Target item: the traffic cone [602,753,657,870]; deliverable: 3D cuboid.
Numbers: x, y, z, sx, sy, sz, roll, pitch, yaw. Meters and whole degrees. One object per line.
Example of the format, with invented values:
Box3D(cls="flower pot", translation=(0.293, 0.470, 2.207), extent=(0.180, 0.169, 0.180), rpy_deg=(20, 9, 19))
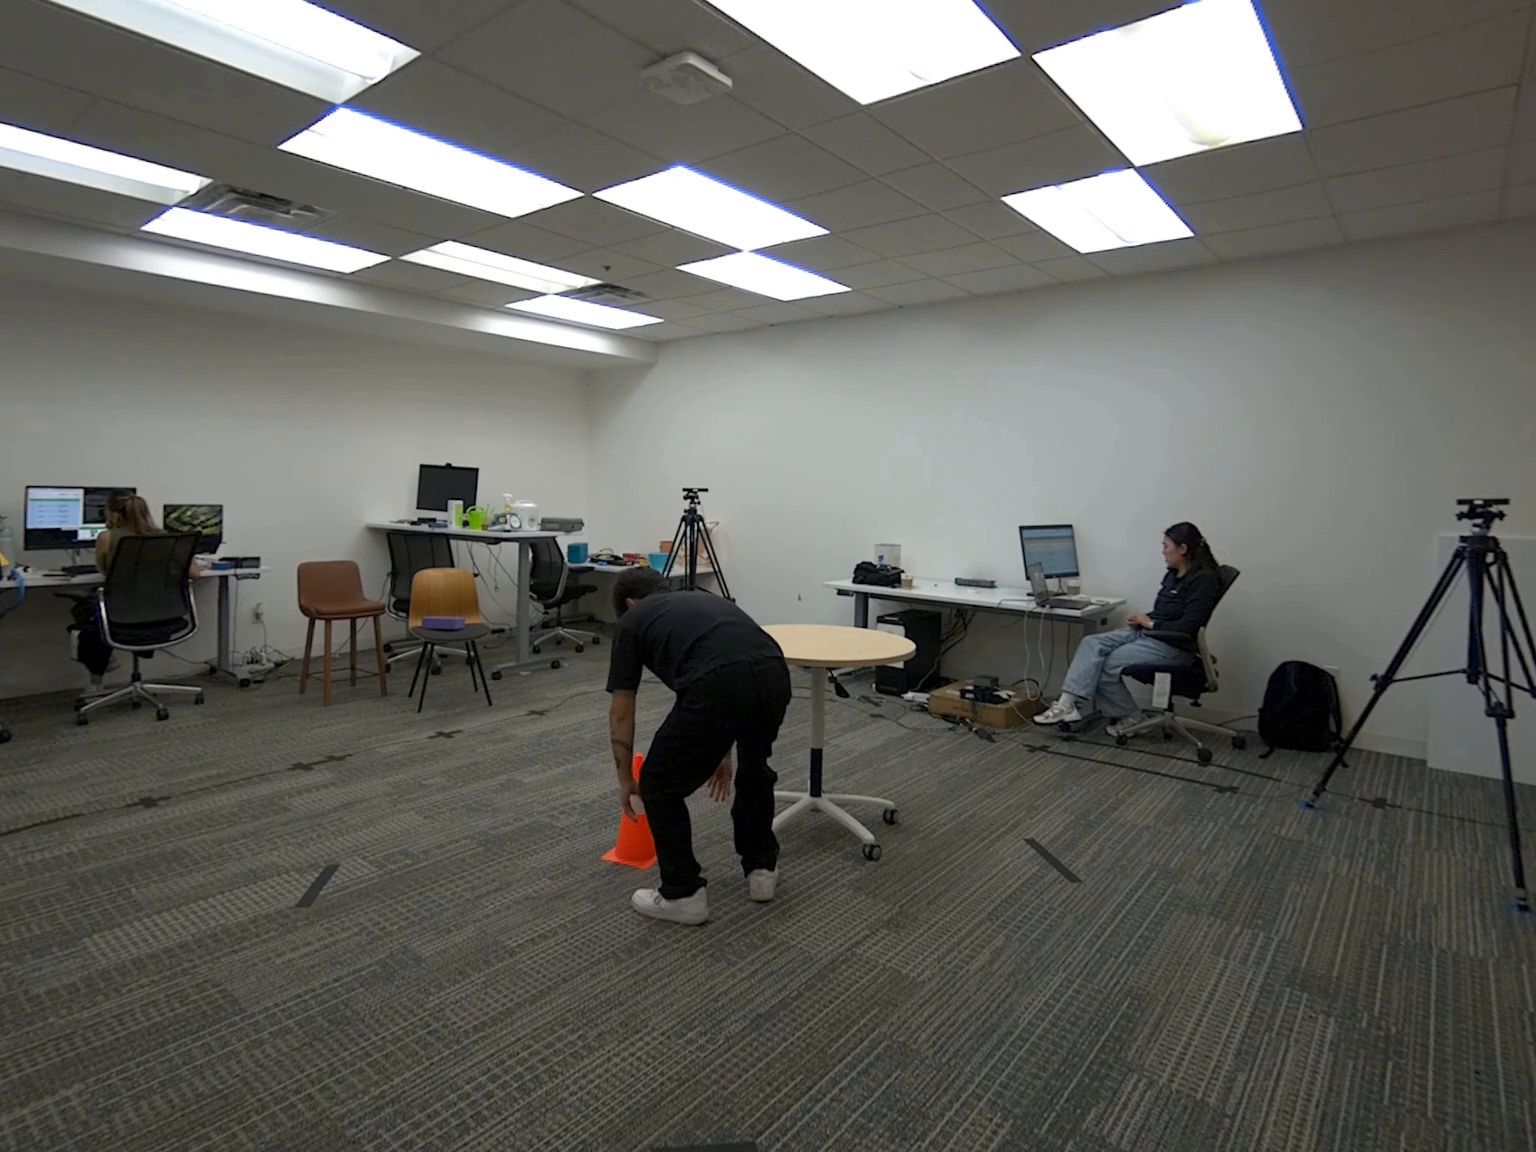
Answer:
Box3D(cls="traffic cone", translation=(-0.508, 0.873, 3.221), extent=(0.209, 0.382, 0.200), rpy_deg=(2, 4, 19))
